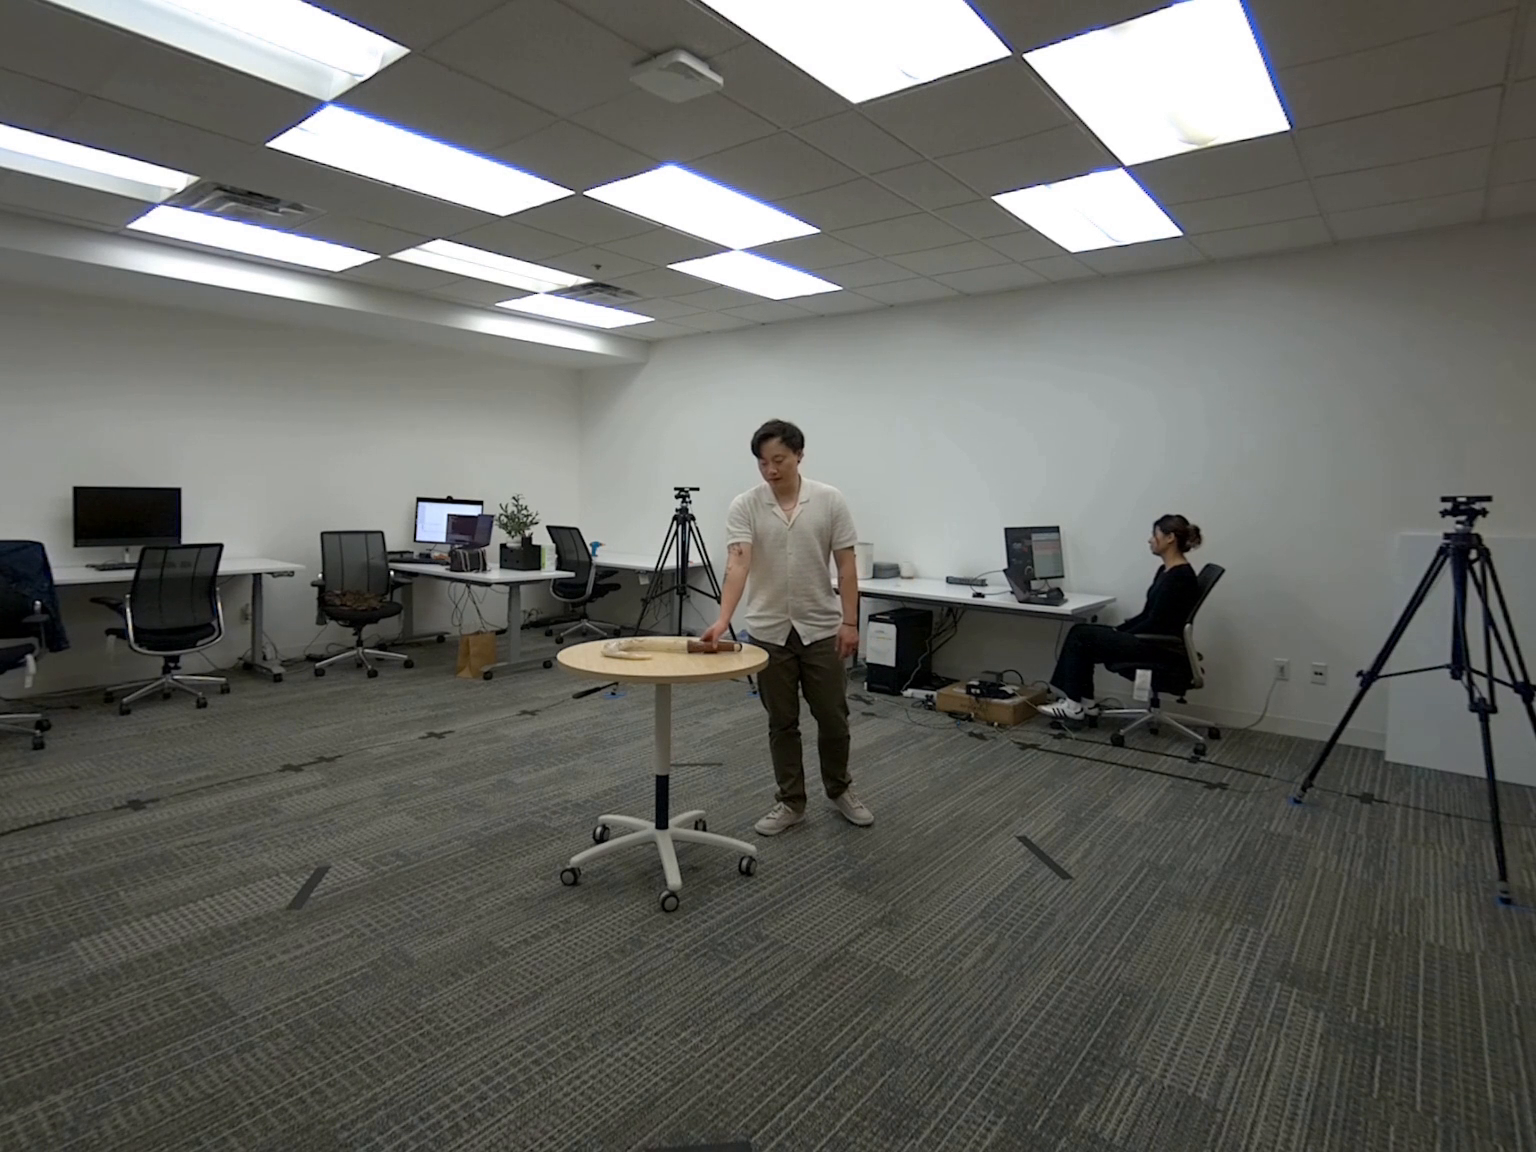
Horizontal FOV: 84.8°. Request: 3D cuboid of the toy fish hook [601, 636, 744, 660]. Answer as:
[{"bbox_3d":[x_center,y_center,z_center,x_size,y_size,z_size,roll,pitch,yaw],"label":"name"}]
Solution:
[{"bbox_3d":[-0.359,0.269,3.074,0.507,0.048,0.226,-1,12,1],"label":"toy fish hook"}]
